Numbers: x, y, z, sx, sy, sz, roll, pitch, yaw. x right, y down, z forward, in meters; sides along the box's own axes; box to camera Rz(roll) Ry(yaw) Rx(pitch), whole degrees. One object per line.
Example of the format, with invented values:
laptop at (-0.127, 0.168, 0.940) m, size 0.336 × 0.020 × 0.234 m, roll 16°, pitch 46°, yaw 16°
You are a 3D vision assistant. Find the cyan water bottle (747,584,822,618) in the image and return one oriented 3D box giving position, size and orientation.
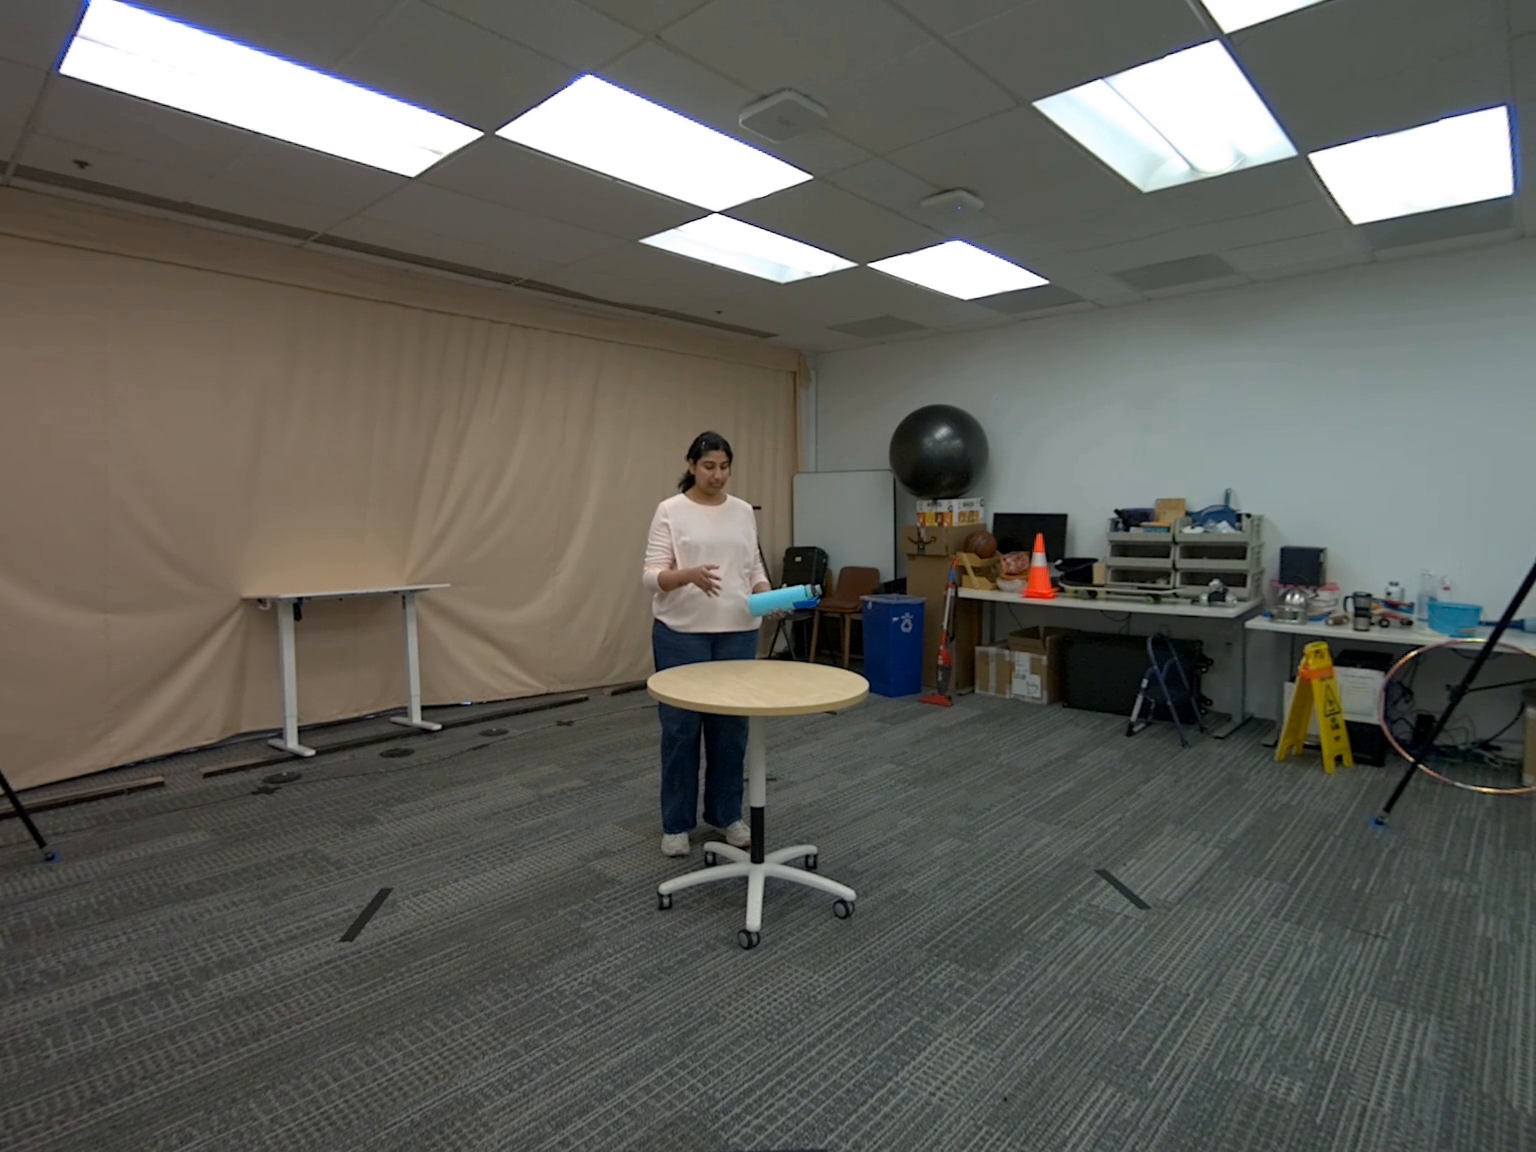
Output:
cyan water bottle at (0.072, 0.090, 3.269) m, size 0.289 × 0.092 × 0.090 m, roll -12°, pitch -1°, yaw 21°
